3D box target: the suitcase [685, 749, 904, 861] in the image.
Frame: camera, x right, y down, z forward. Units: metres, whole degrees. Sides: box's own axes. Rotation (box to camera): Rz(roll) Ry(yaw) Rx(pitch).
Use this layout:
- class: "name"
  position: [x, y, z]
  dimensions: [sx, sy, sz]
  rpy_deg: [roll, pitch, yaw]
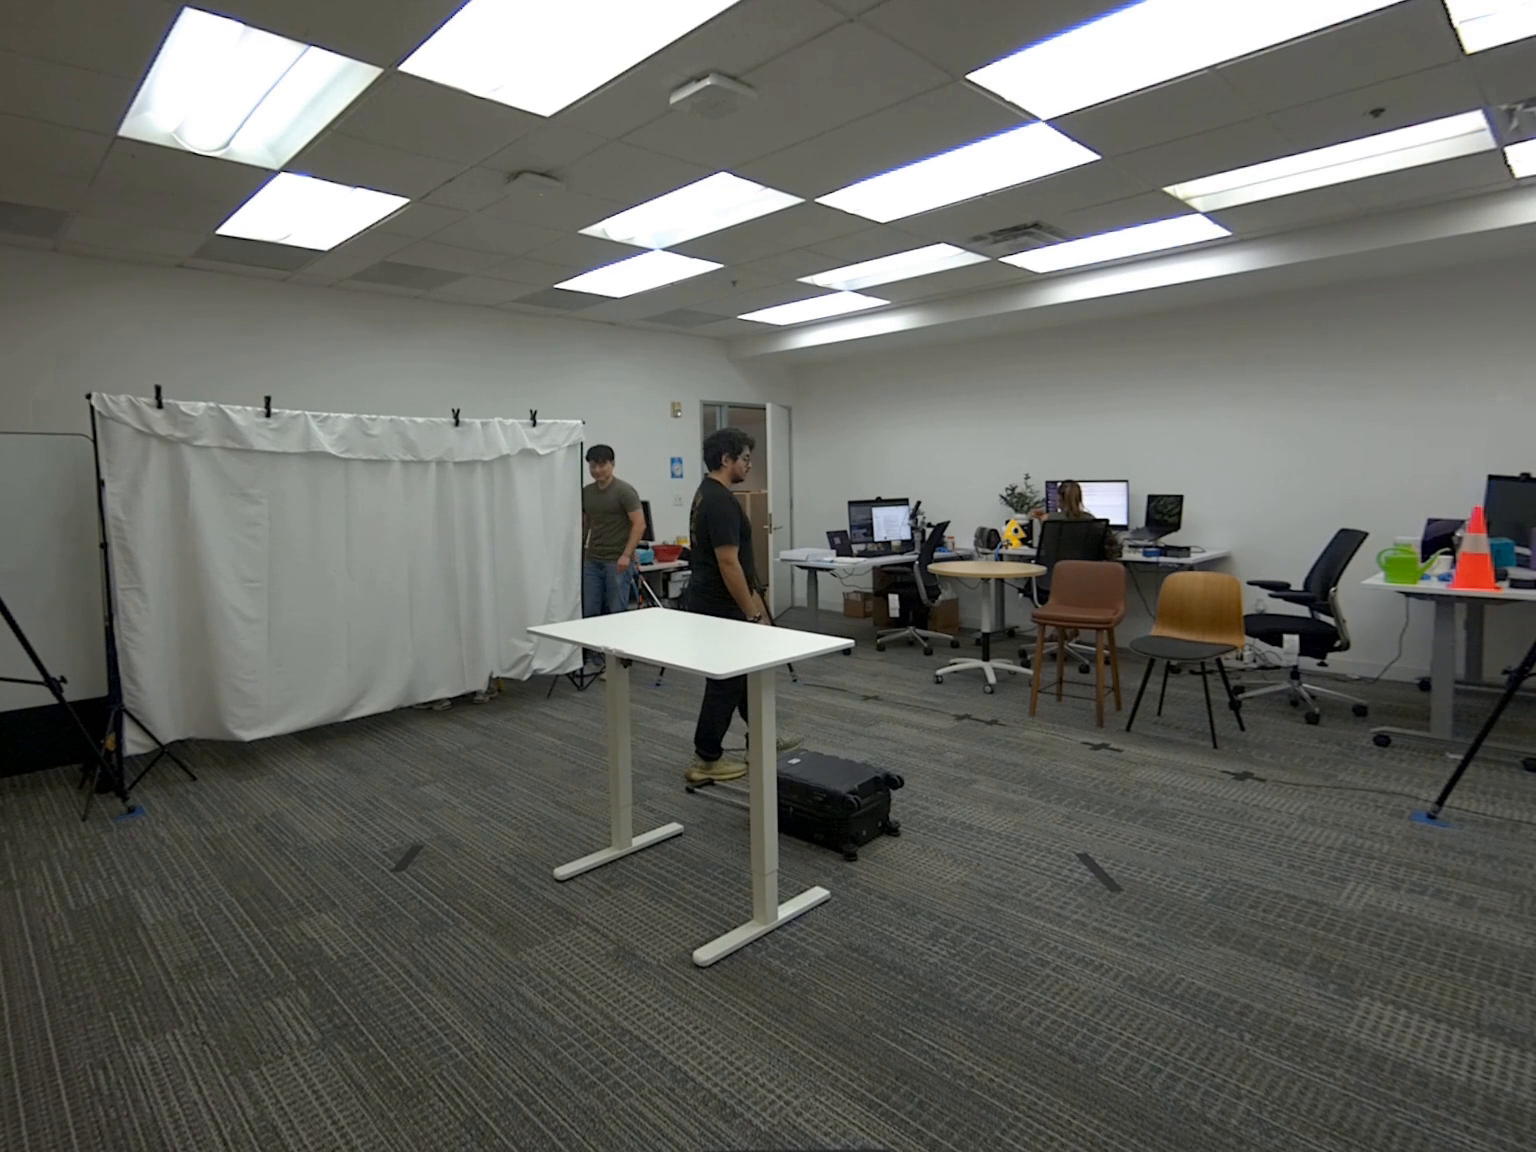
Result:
- class: "suitcase"
  position: [0.063, 0.868, 3.564]
  dimensions: [1.010, 0.255, 0.374]
  rpy_deg: [7, 10, 42]
